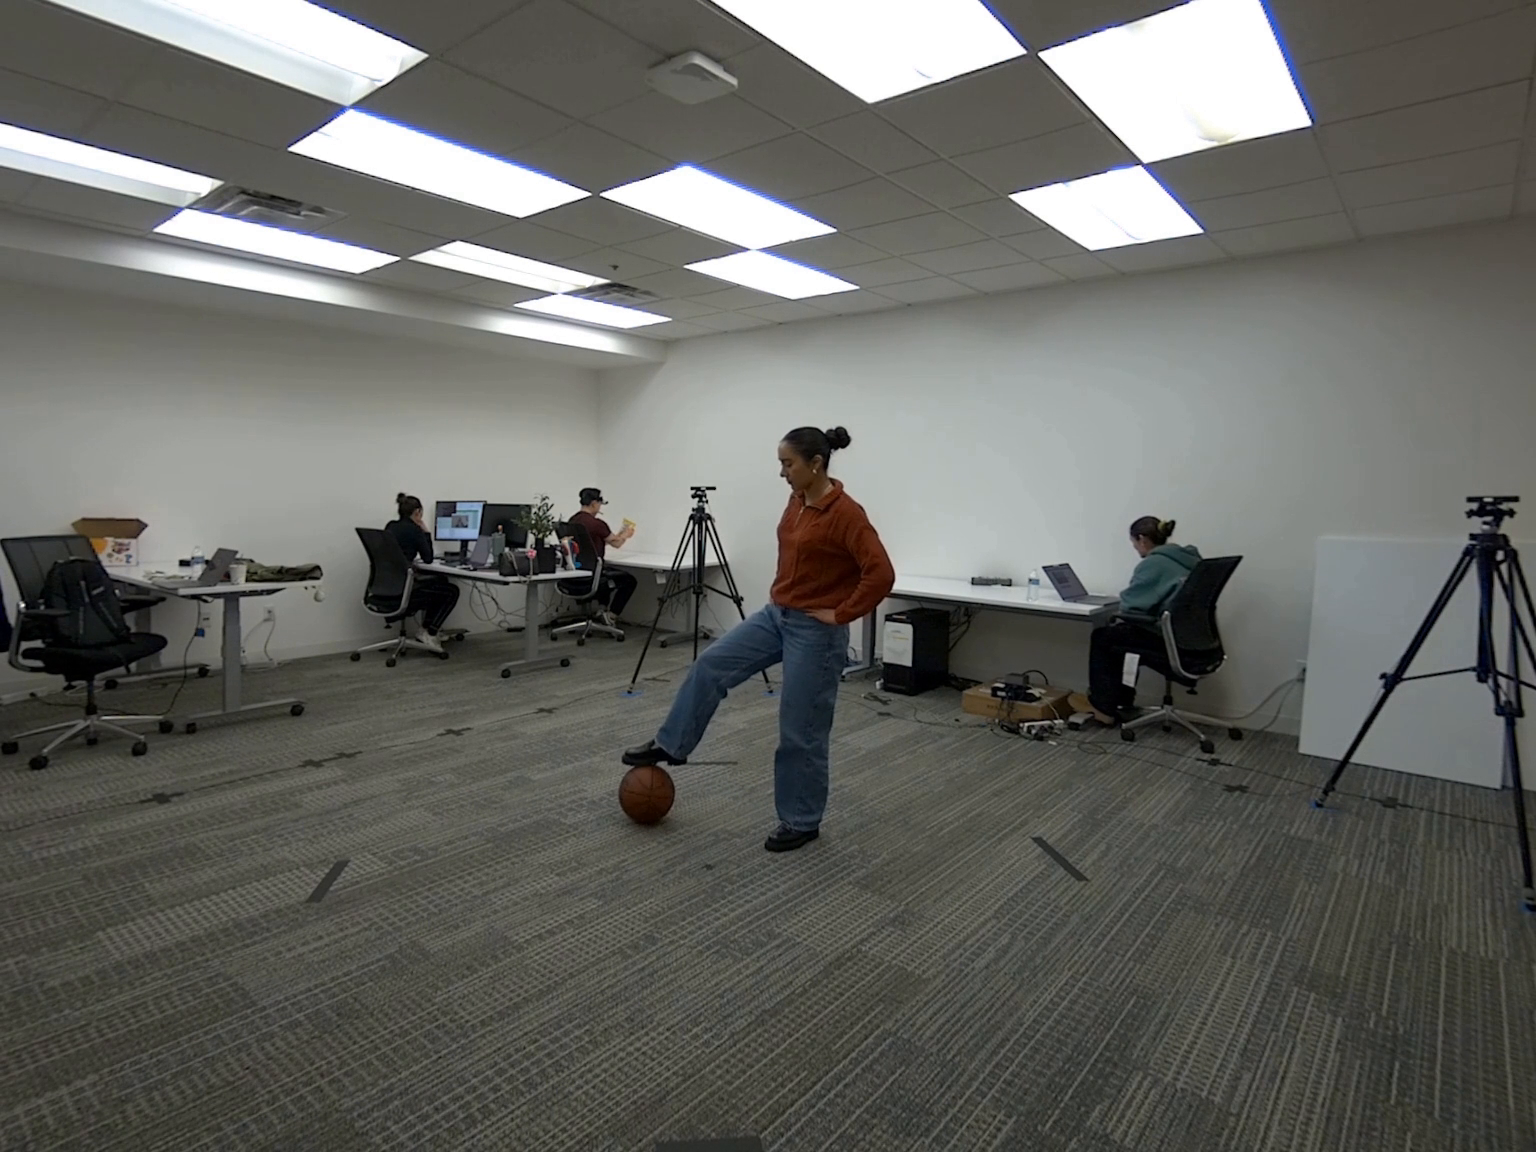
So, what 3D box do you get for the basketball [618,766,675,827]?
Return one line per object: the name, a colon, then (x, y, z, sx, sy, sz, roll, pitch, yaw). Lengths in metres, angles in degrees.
basketball: (-0.514, 0.898, 3.537, 0.235, 0.235, 0.237, 1, 4, -2)
